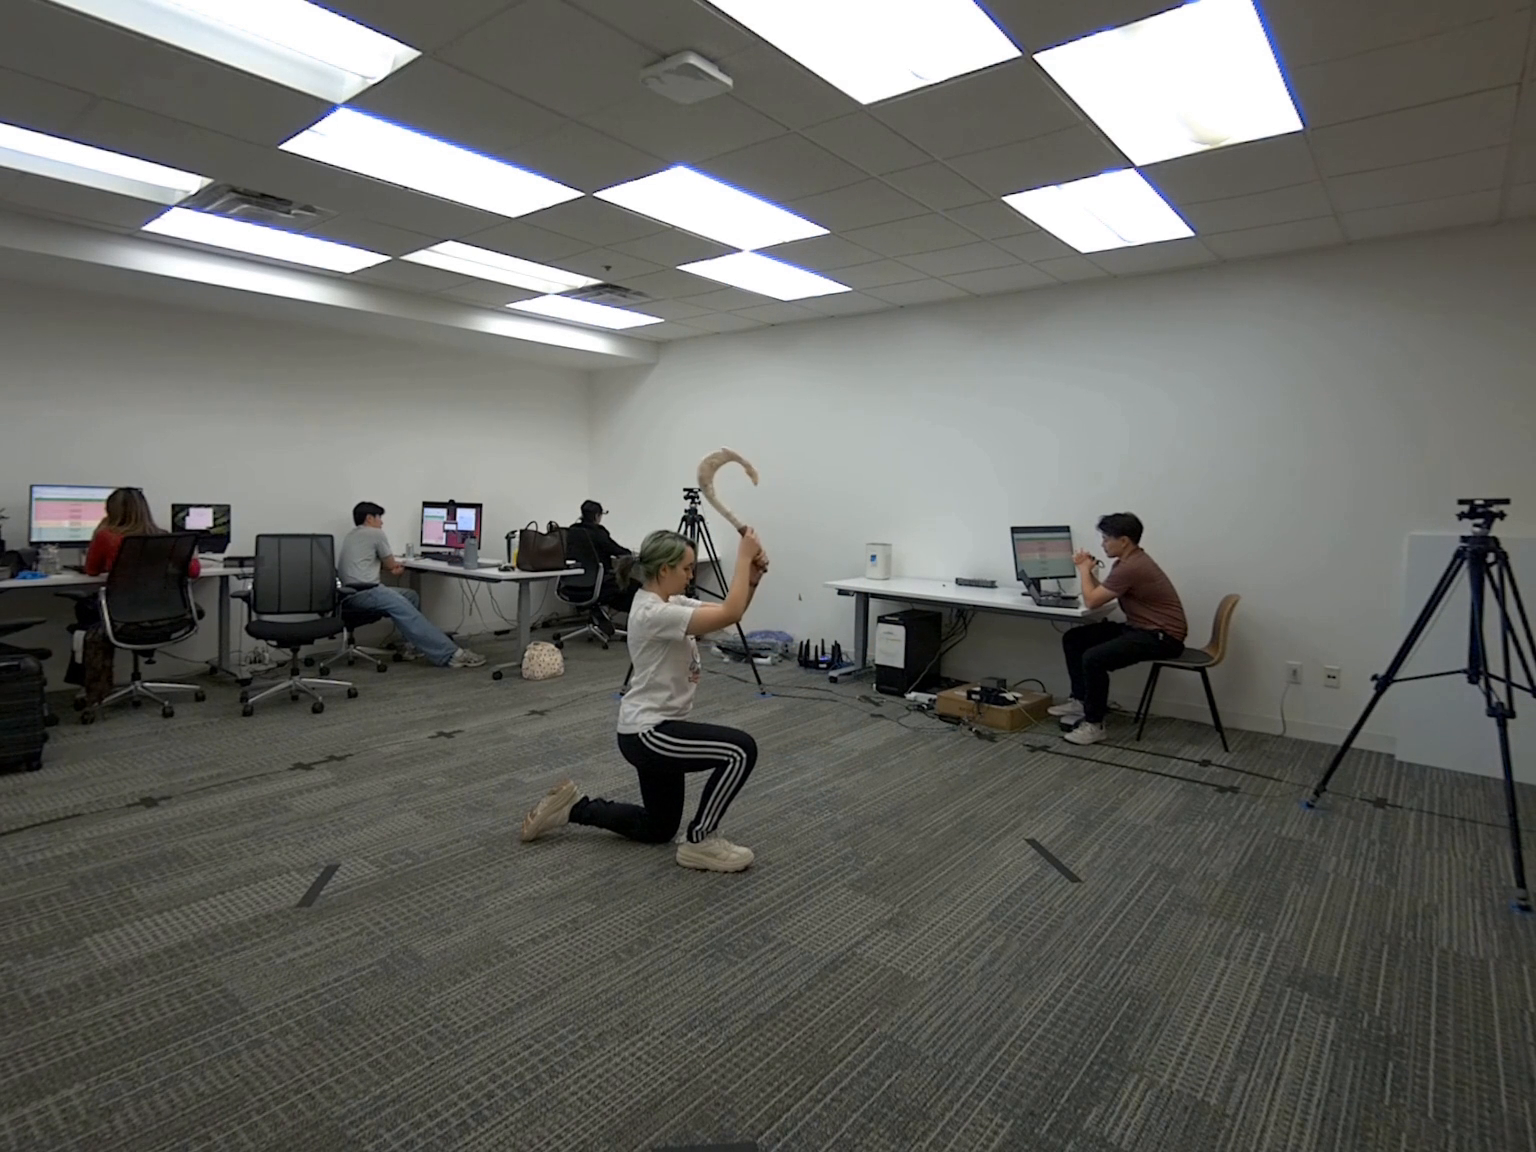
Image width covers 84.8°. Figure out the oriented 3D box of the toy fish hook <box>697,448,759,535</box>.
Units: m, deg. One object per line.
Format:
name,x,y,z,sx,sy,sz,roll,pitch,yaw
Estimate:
toy fish hook,-0.100,-0.251,3.290,0.226,0.506,0.048,-28,1,13
